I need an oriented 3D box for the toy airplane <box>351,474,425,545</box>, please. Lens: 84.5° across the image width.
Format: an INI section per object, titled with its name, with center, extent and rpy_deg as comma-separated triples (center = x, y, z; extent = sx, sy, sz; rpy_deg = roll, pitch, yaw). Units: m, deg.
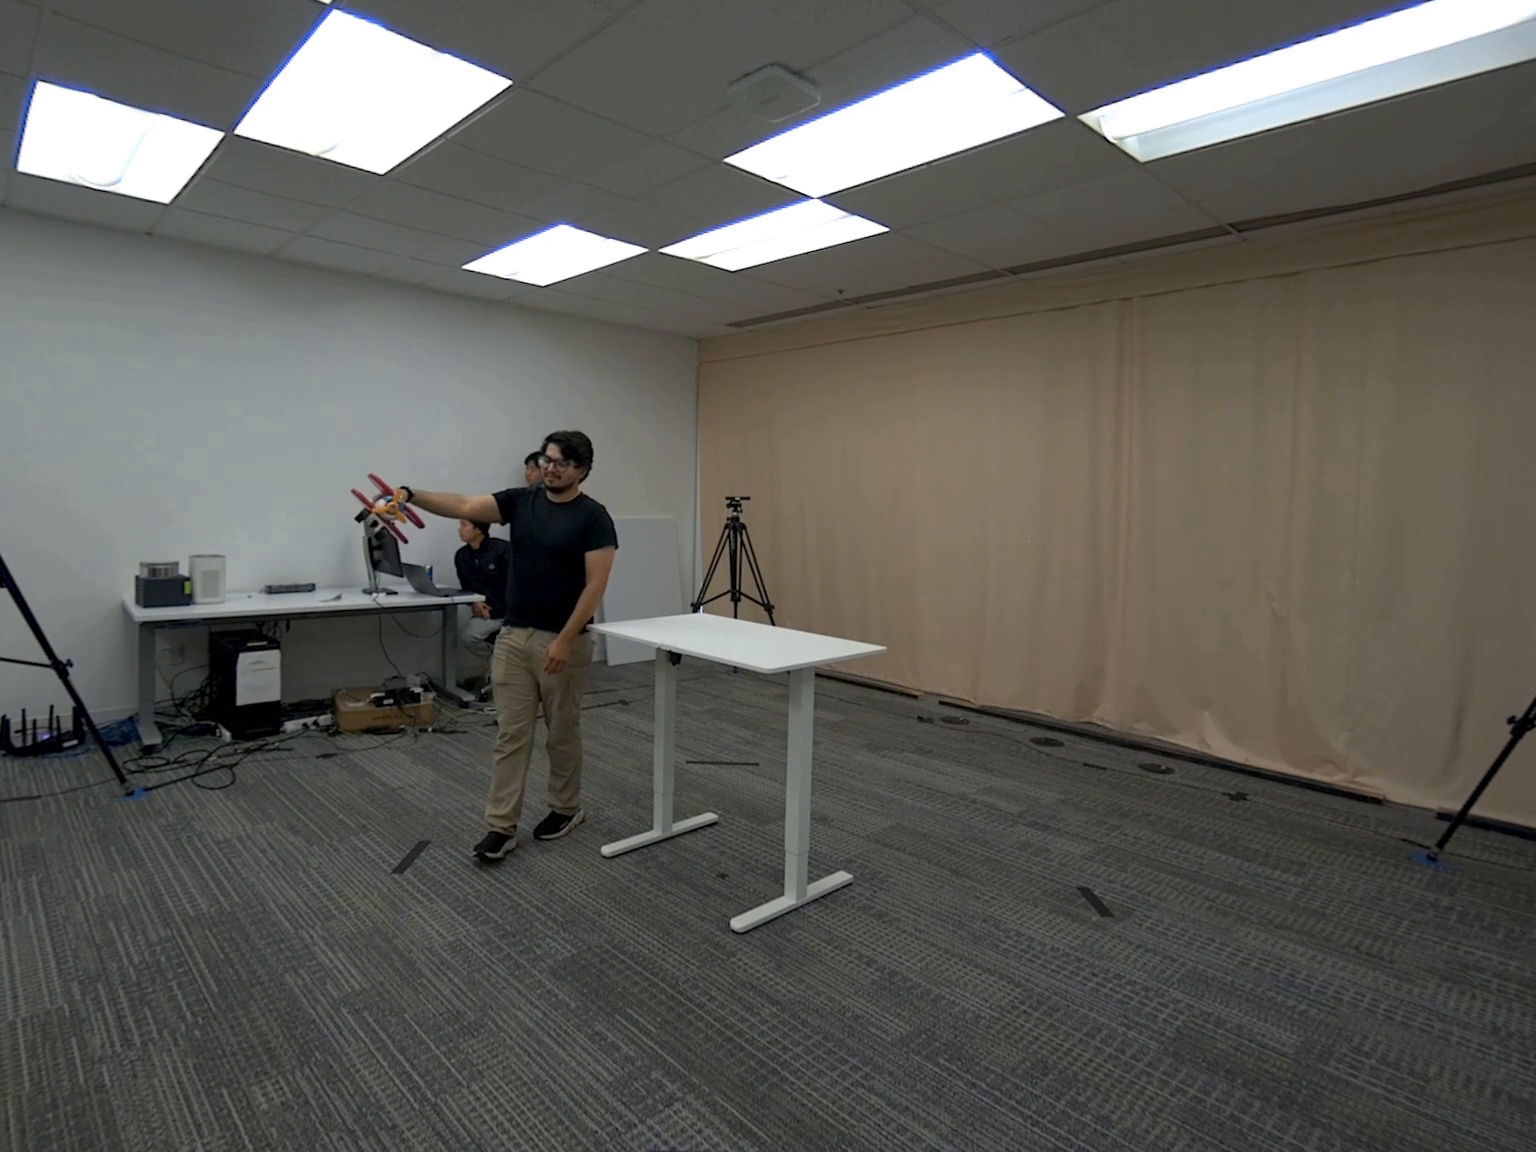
[toy airplane]
center = -1.375, -0.240, 2.925
extent = 0.267, 0.156, 0.243
rpy_deg = 38, -14, 38
